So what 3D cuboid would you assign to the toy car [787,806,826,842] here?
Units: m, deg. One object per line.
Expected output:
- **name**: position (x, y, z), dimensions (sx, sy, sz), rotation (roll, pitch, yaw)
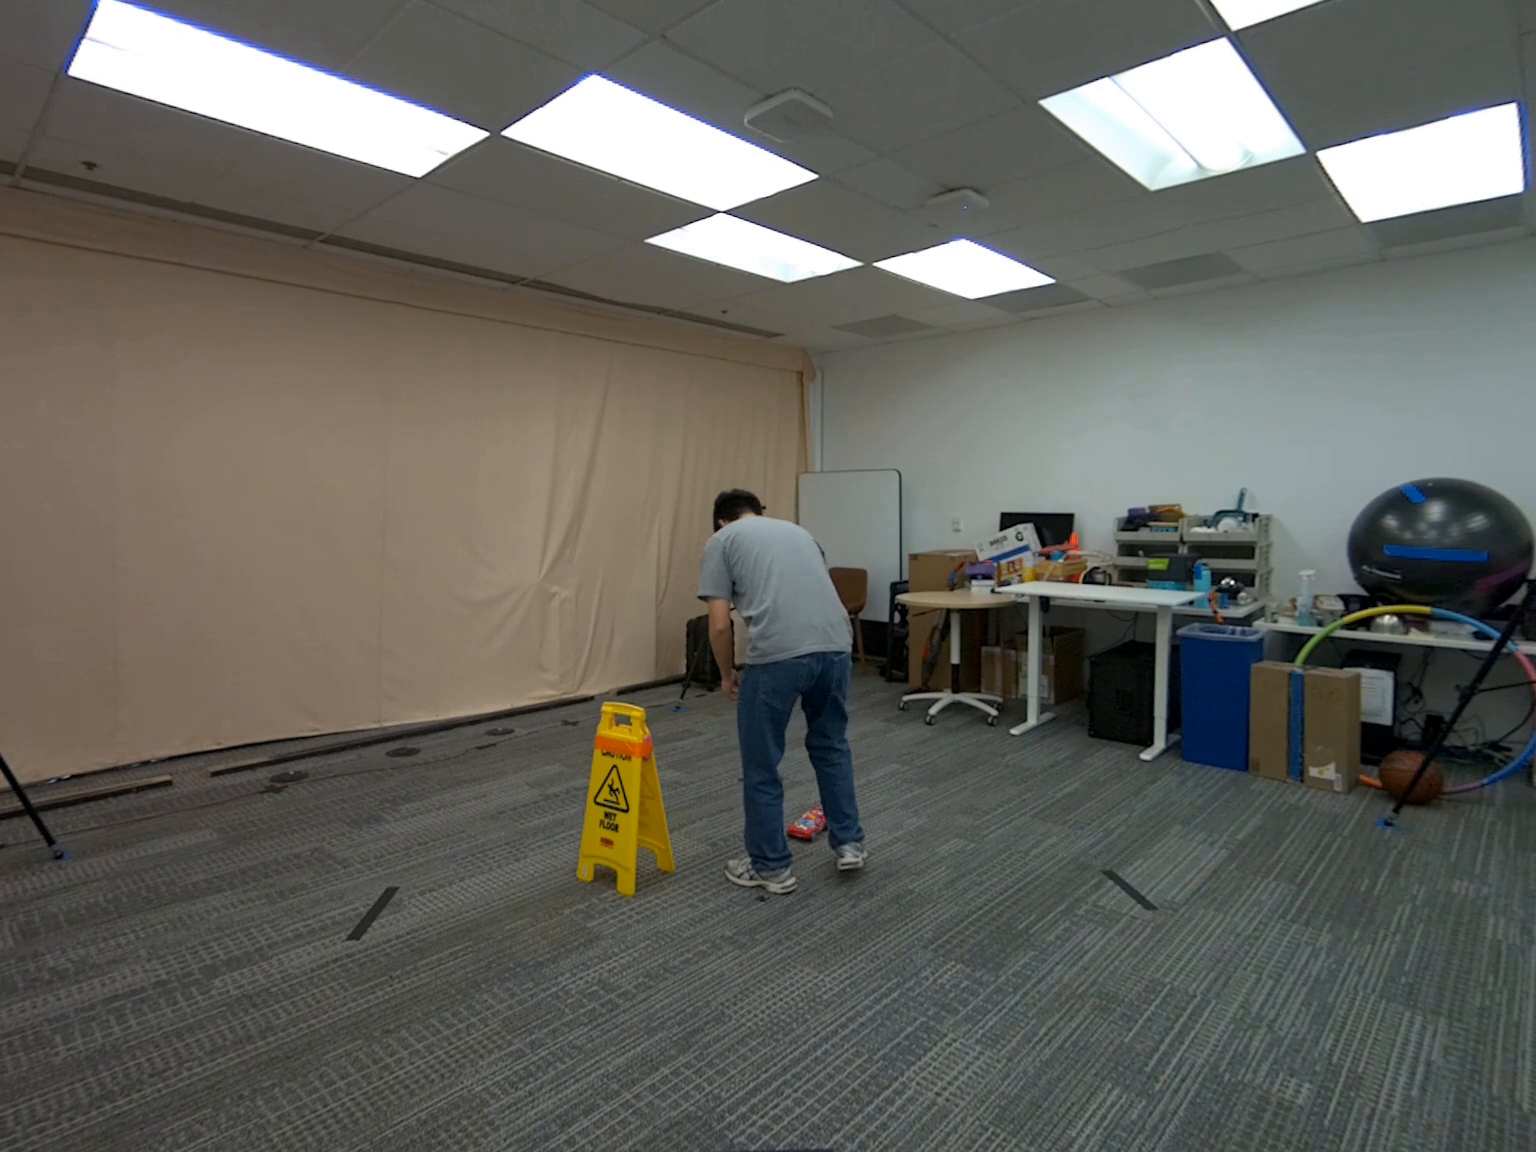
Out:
- **toy car**: position (0.188, 1.062, 3.599), dimensions (0.134, 0.082, 0.249), rotation (1, 15, 29)
